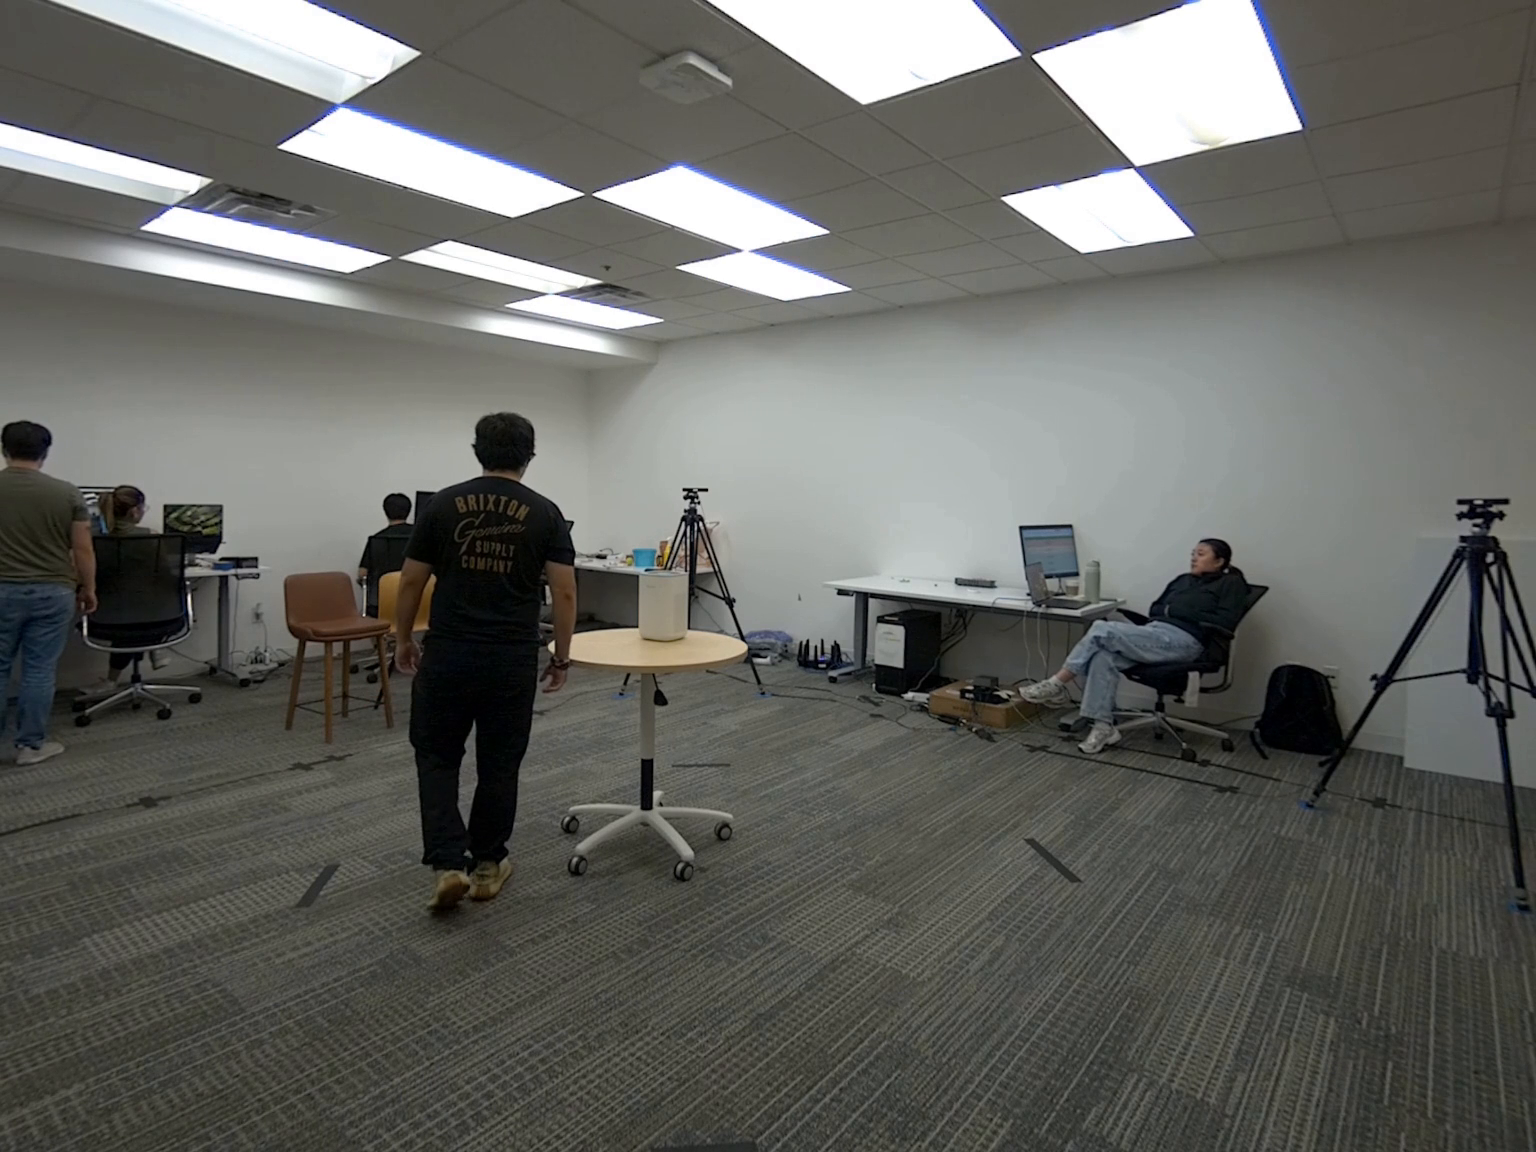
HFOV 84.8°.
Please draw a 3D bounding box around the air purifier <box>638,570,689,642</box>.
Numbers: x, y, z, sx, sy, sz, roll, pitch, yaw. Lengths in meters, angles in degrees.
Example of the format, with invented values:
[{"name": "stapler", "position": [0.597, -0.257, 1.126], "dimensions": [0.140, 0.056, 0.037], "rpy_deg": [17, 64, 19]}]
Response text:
[{"name": "air purifier", "position": [-0.435, 0.116, 3.437], "dimensions": [0.176, 0.264, 0.167], "rpy_deg": [4, 5, 27]}]
